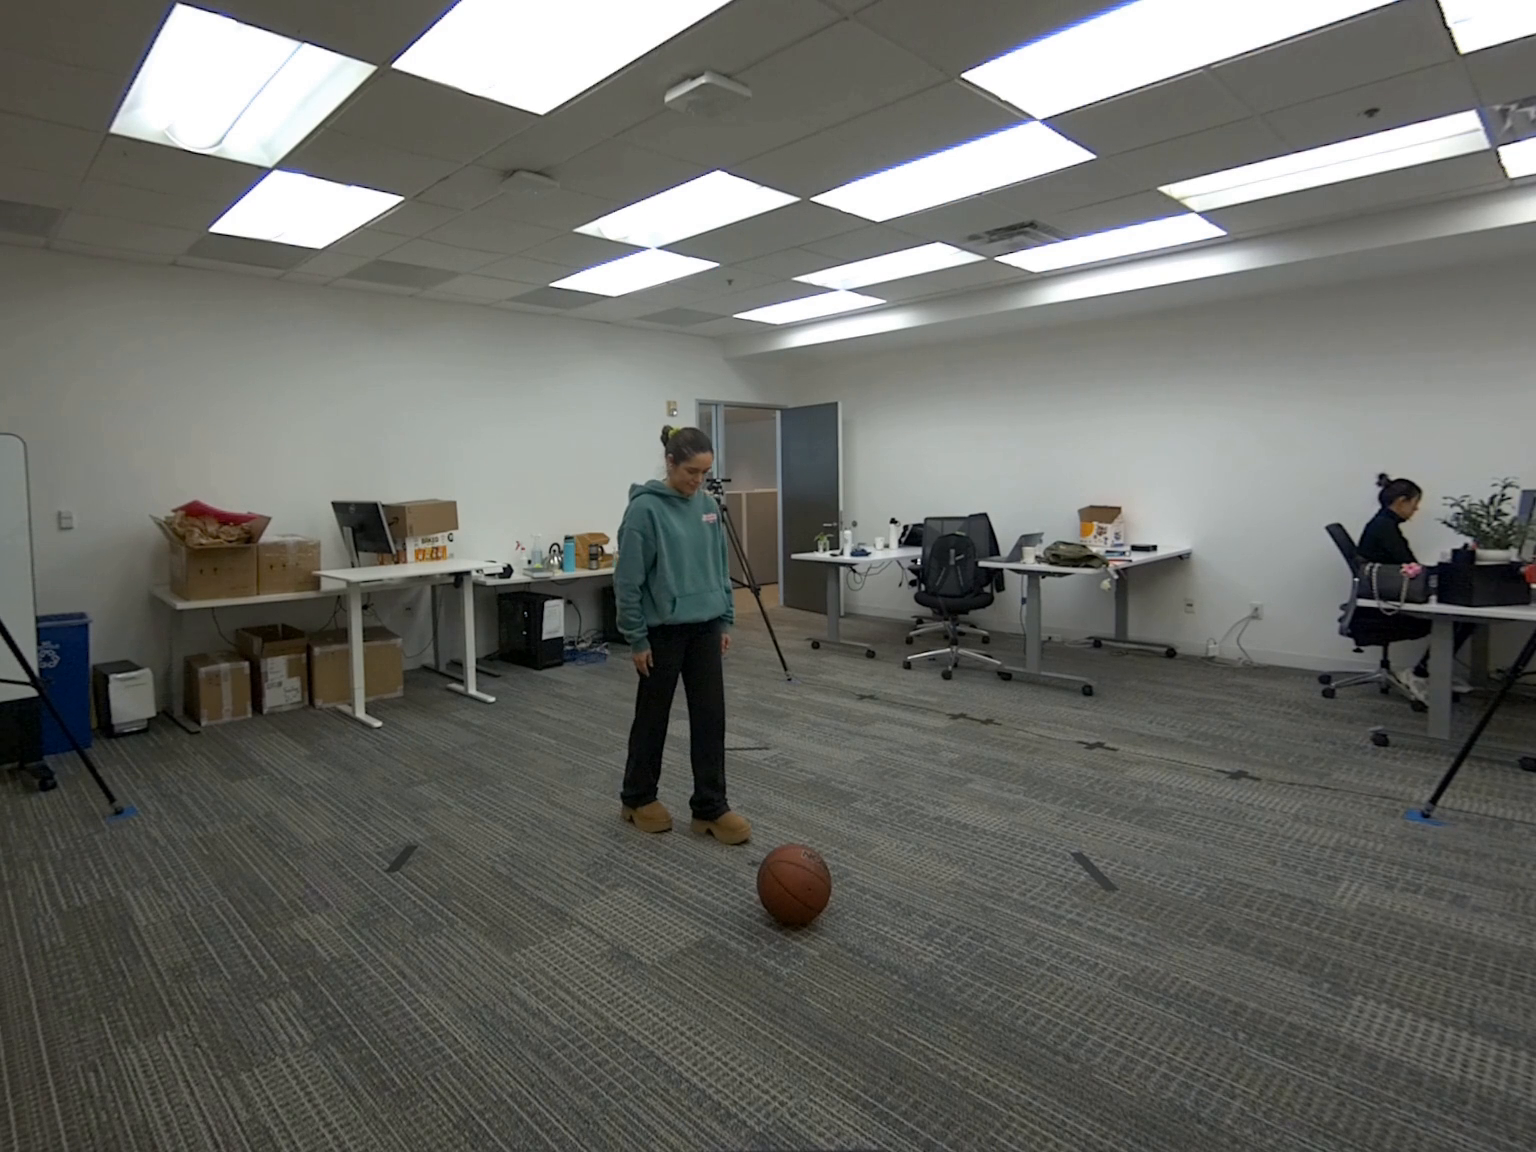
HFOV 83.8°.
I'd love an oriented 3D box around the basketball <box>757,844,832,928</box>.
[{"bbox_3d":[0.089,0.969,2.701,0.236,0.235,0.237,-1,5,-2],"label":"basketball"}]
